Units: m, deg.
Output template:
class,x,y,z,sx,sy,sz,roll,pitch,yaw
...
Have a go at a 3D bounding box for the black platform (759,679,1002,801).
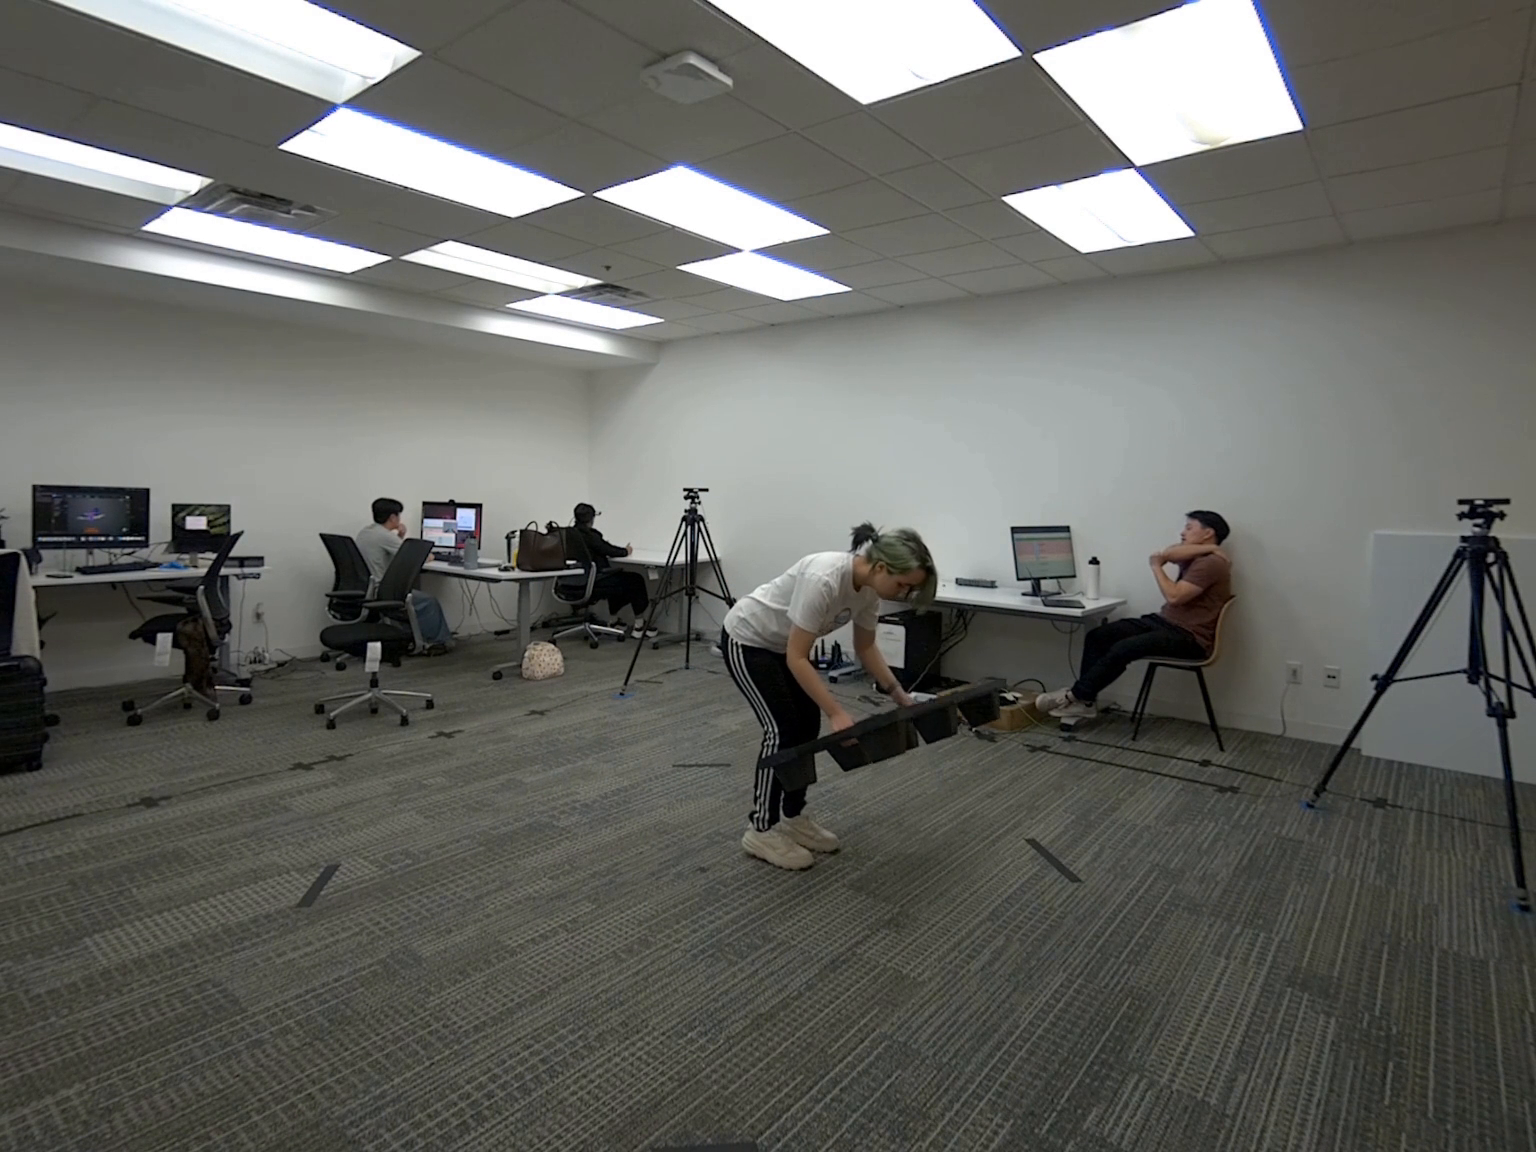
class,x,y,z,sx,sy,sz,roll,pitch,yaw
black platform,0.429,0.571,3.011,0.612,0.146,0.781,-31,-18,37
